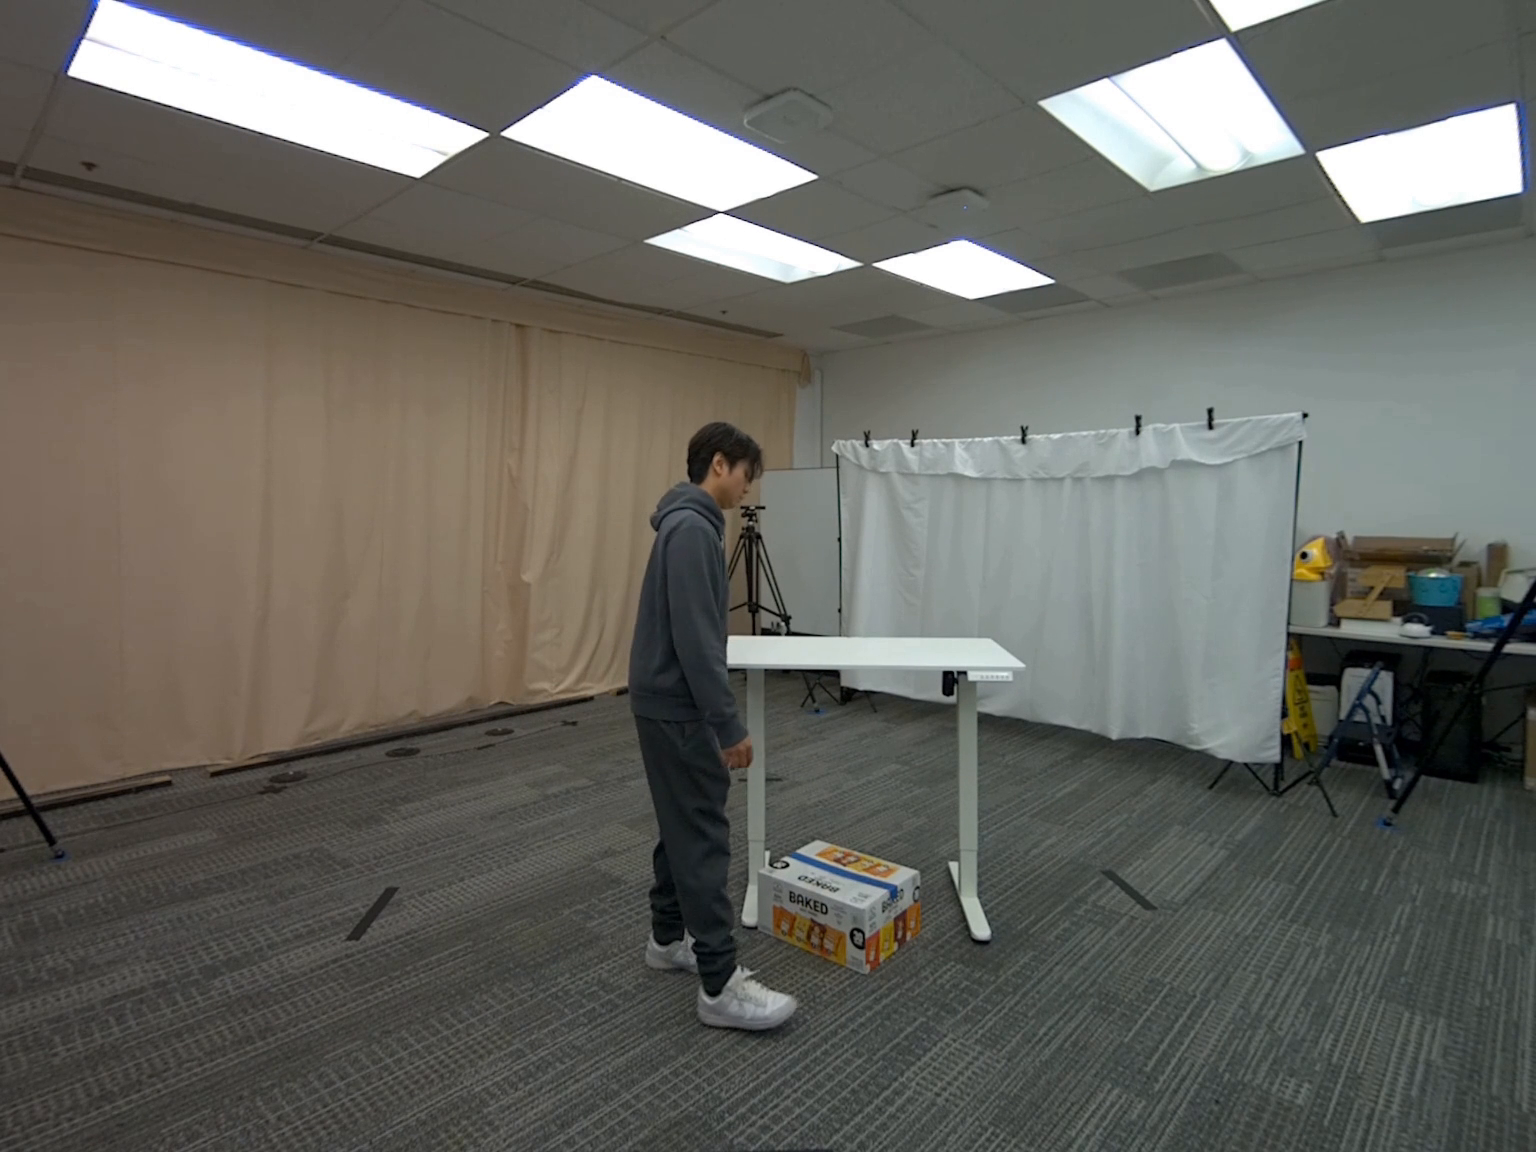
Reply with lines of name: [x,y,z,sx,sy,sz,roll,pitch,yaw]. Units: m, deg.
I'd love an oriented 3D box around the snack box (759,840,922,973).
snack box: [0.234,1.063,2.740,0.418,0.205,0.330,3,5,39]
